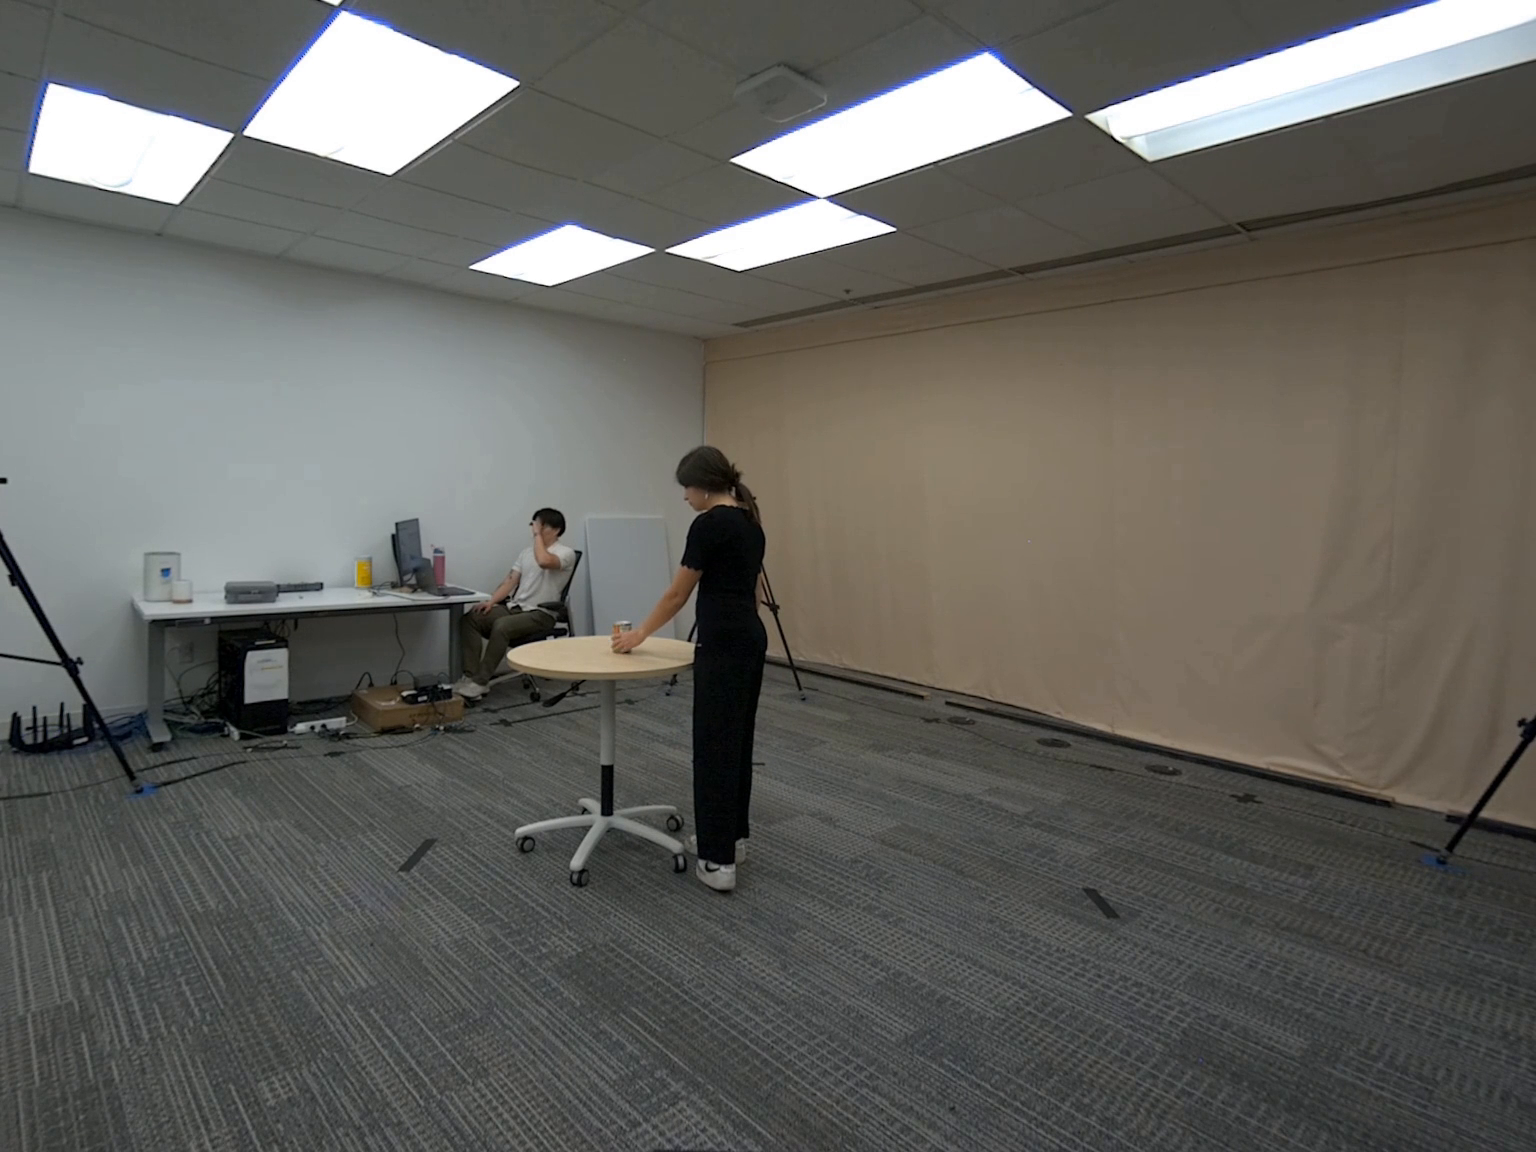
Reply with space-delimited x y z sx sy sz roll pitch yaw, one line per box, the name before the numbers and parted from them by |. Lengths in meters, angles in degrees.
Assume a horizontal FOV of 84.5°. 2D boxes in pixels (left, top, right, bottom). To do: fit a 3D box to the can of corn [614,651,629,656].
can of corn | -0.566 0.238 3.288 0.074 0.111 0.074 0 3 -1
